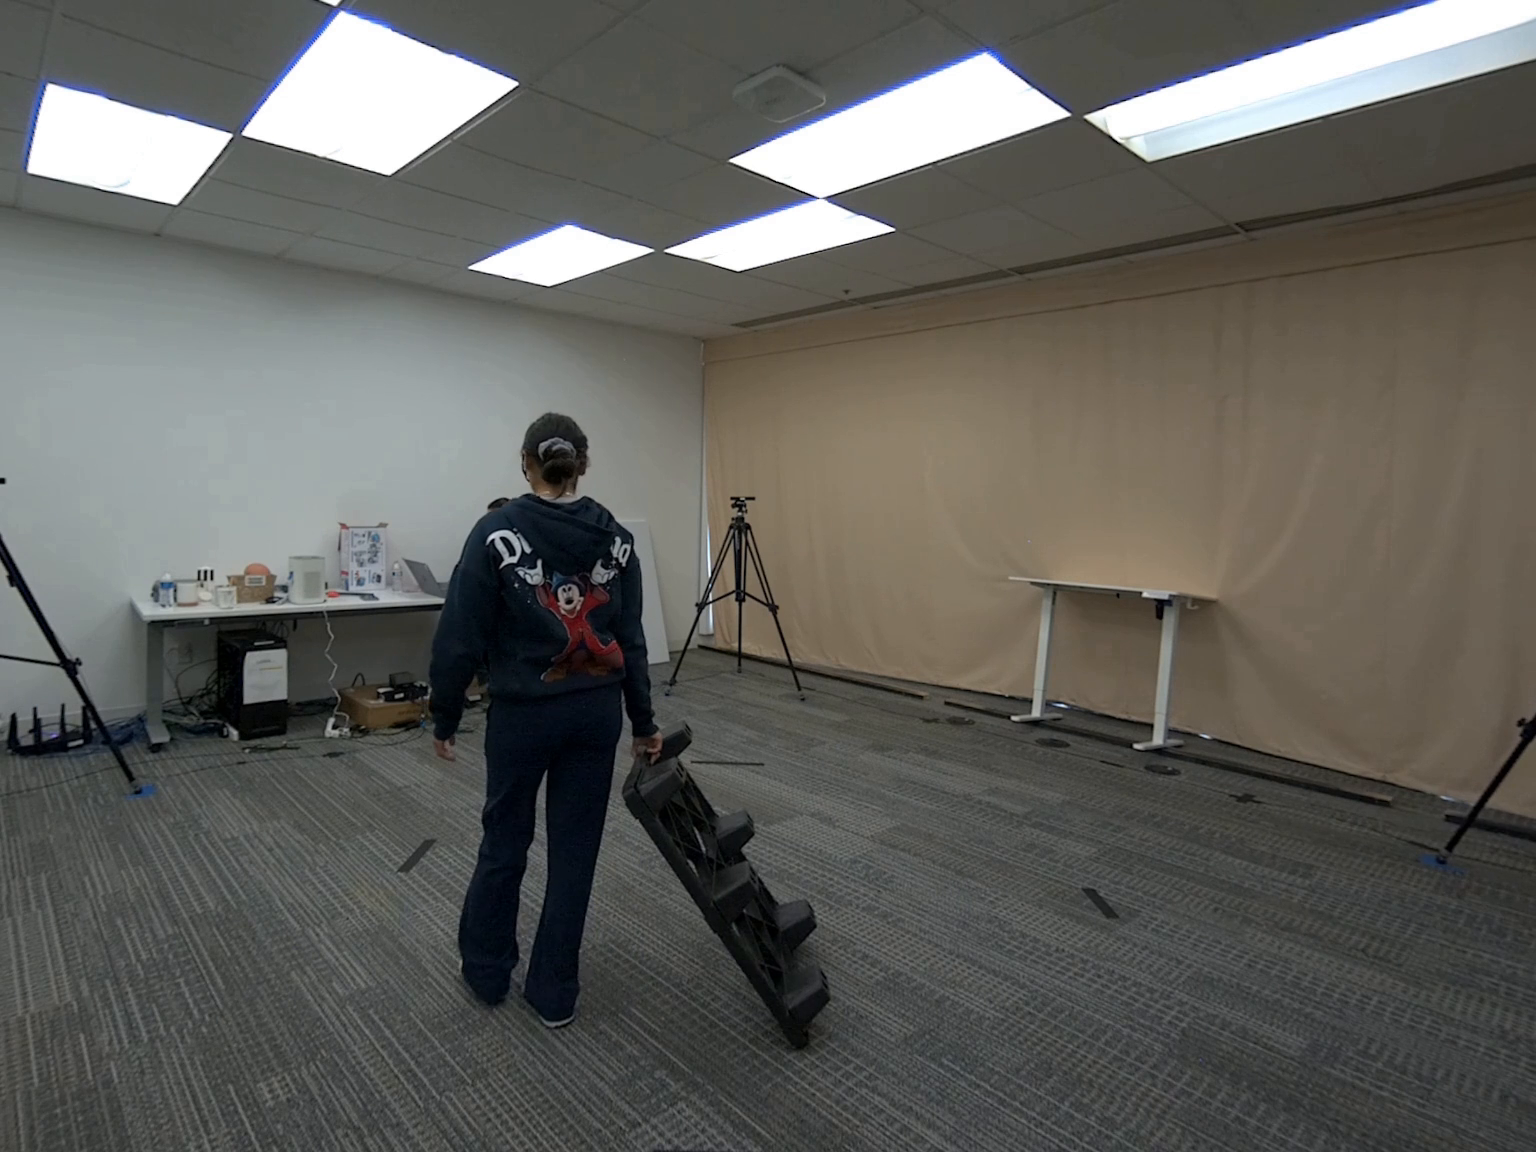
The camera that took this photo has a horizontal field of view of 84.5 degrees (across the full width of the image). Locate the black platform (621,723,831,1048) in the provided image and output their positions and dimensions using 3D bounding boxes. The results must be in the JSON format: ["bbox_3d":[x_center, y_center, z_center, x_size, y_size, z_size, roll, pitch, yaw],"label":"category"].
[{"bbox_3d":[-0.104,0.814,2.399,0.143,0.803,0.607,-34,4,1],"label":"black platform"}]
